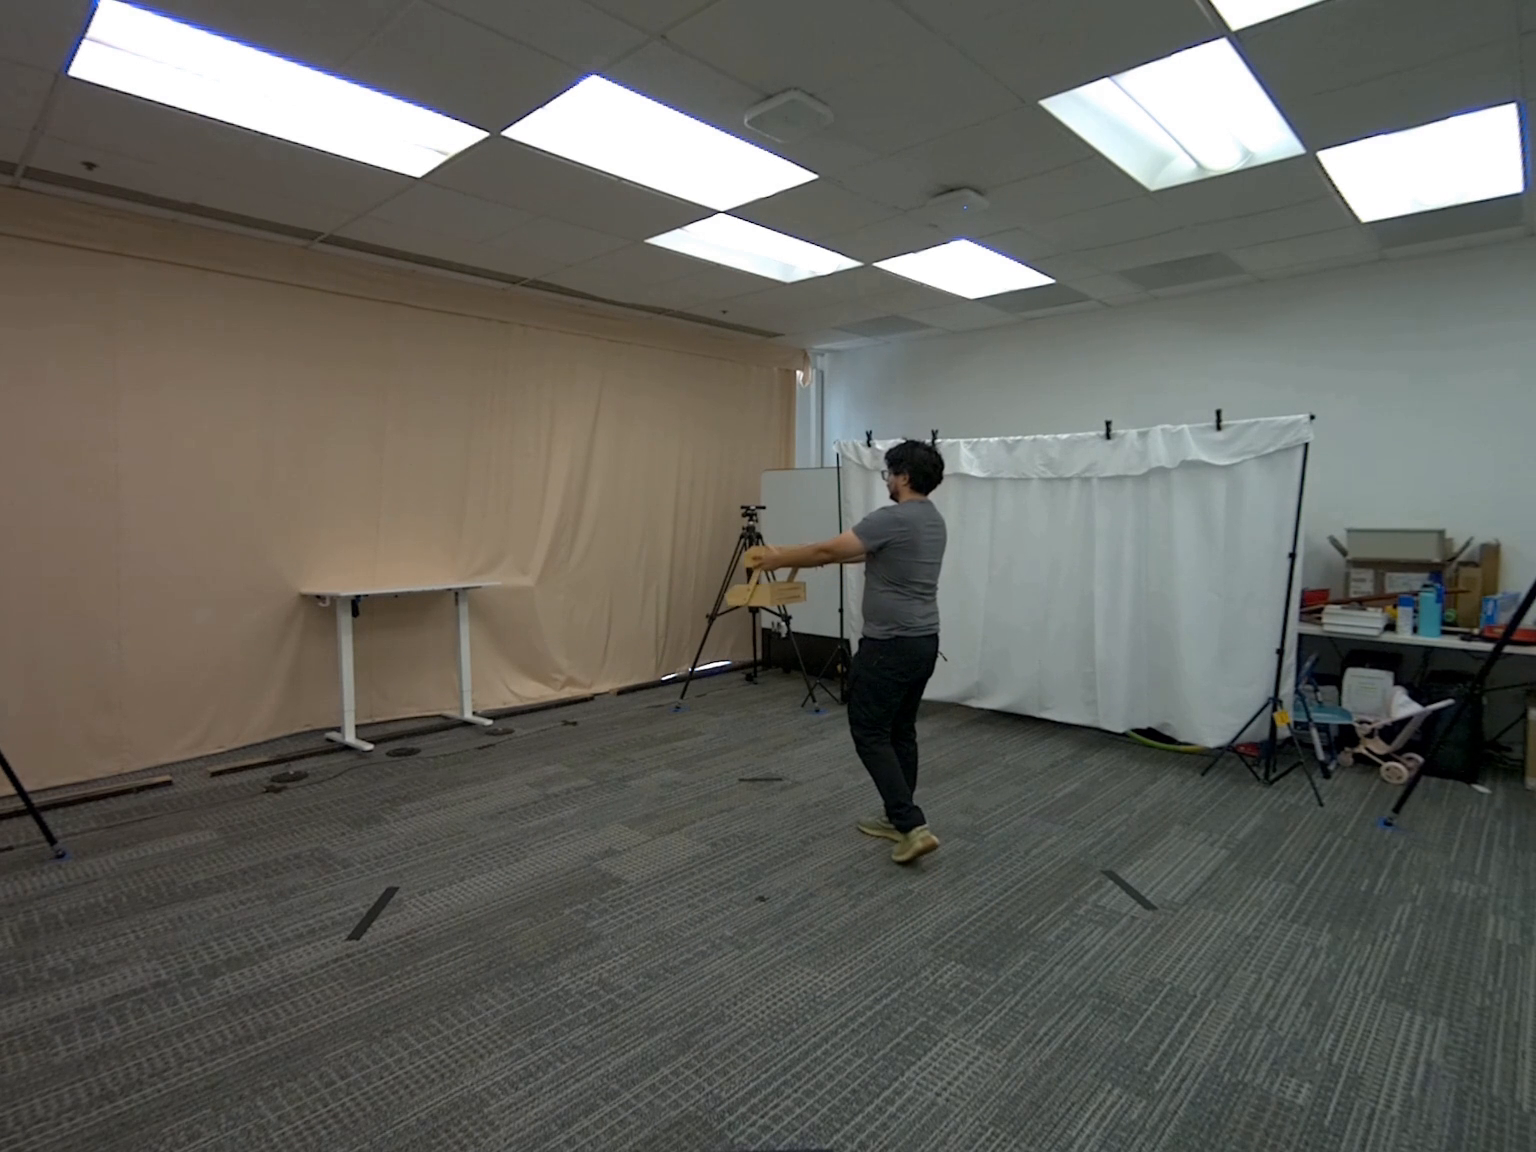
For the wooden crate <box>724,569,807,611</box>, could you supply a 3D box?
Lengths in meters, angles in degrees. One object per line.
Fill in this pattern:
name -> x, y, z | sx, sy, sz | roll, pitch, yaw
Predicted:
wooden crate -> 0.006, -0.009, 3.820 | 0.311, 0.273, 0.315 | 2, 3, 35
